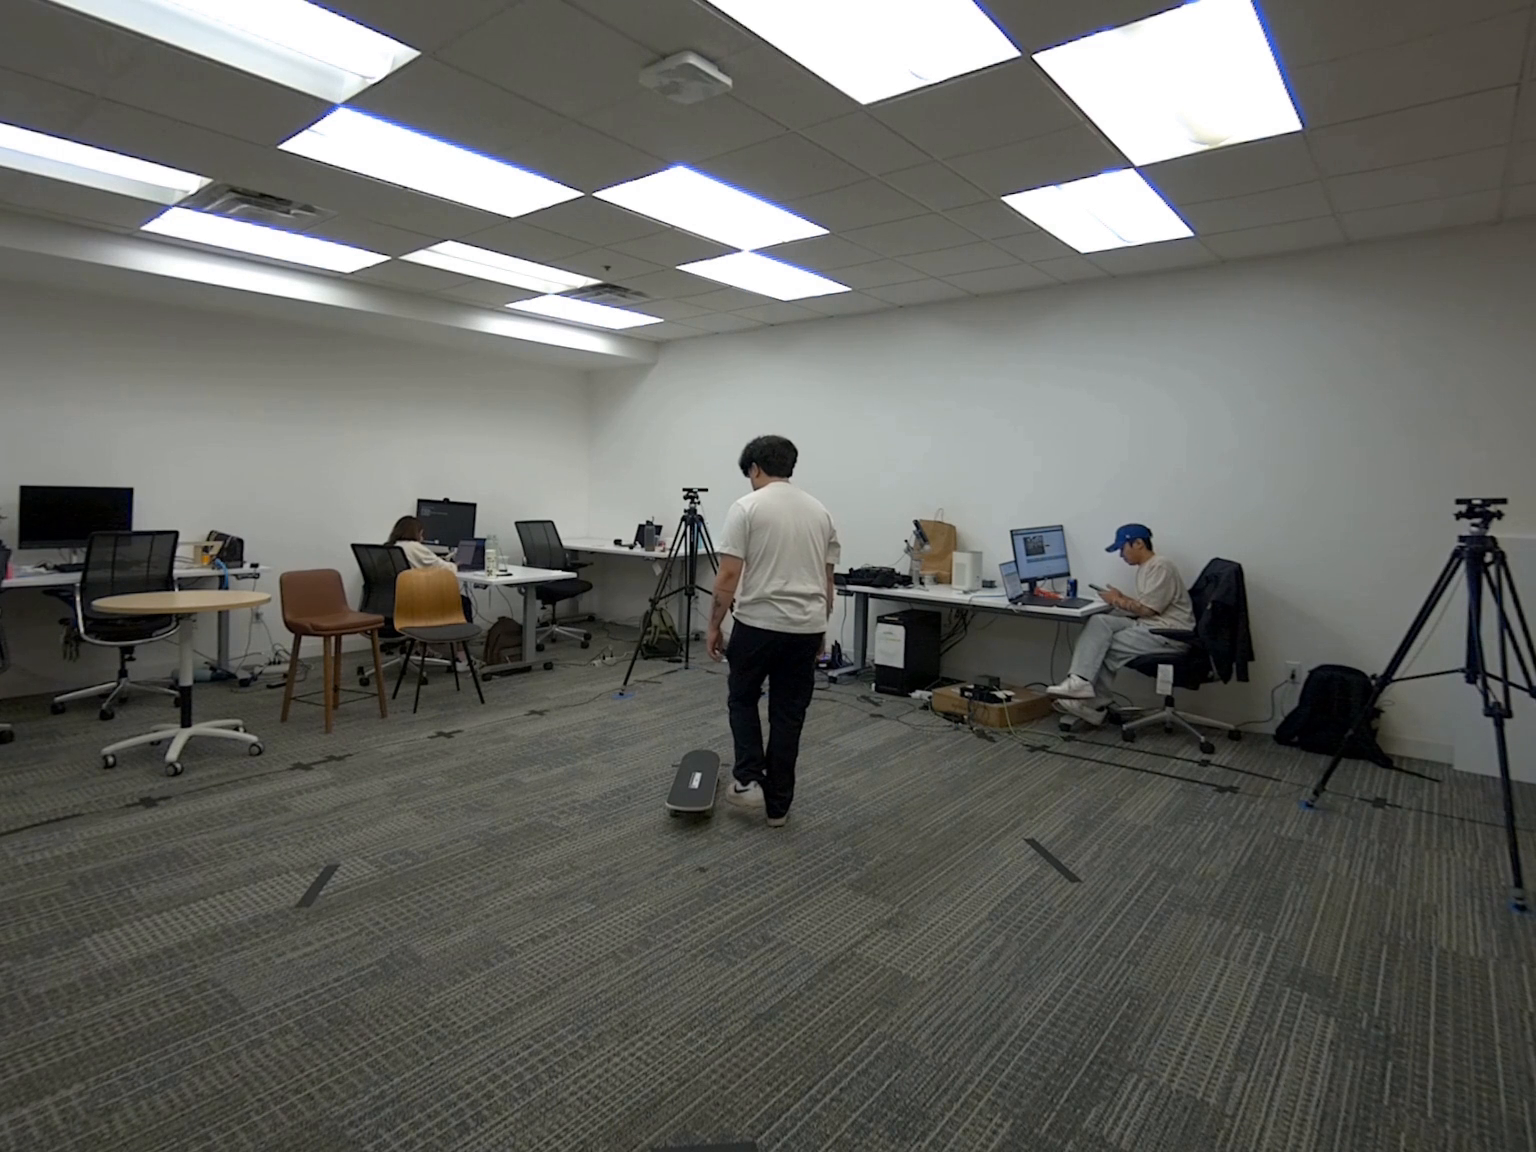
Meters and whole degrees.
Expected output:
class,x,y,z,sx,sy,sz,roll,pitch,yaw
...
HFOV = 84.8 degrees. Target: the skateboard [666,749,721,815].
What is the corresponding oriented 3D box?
class,x,y,z,sx,sy,sz,roll,pitch,yaw
skateboard,-0.340,0.941,3.806,0.194,0.110,0.786,0,5,1
